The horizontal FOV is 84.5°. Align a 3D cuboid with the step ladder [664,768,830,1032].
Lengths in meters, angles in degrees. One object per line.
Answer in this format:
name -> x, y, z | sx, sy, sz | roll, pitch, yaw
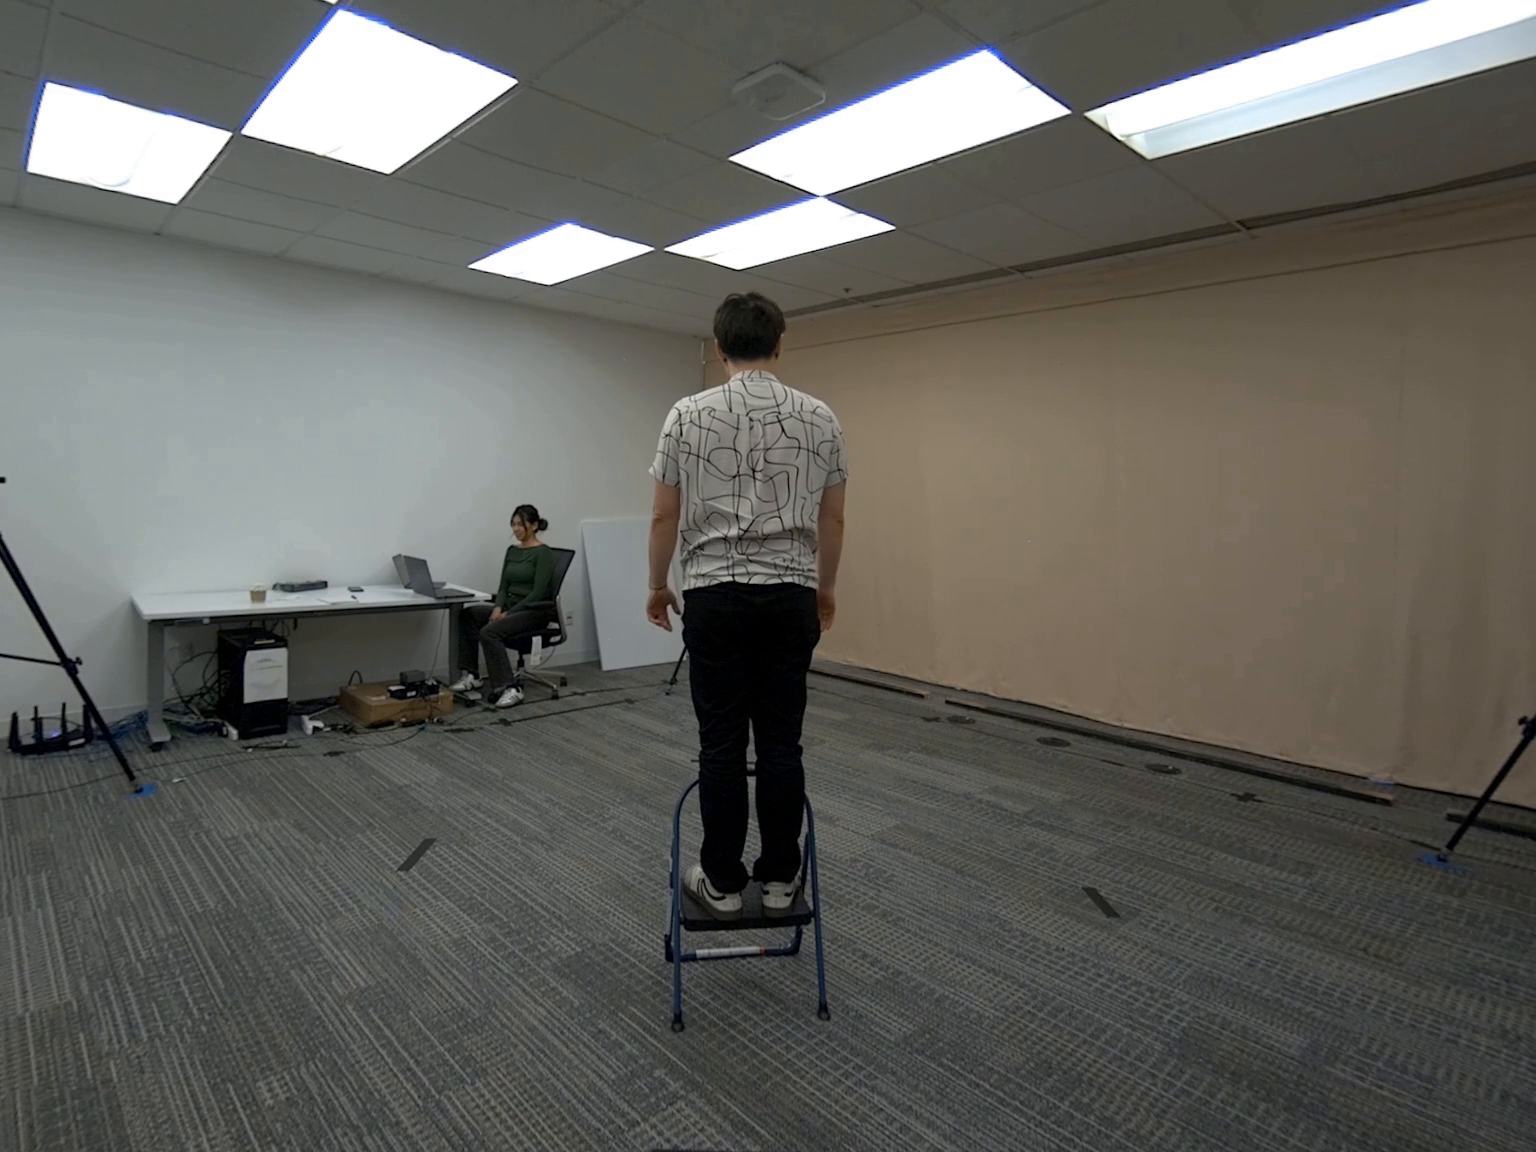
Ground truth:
step ladder -> -0.072, 0.873, 2.376 | 0.427, 0.604, 0.353 | 1, 4, -11
